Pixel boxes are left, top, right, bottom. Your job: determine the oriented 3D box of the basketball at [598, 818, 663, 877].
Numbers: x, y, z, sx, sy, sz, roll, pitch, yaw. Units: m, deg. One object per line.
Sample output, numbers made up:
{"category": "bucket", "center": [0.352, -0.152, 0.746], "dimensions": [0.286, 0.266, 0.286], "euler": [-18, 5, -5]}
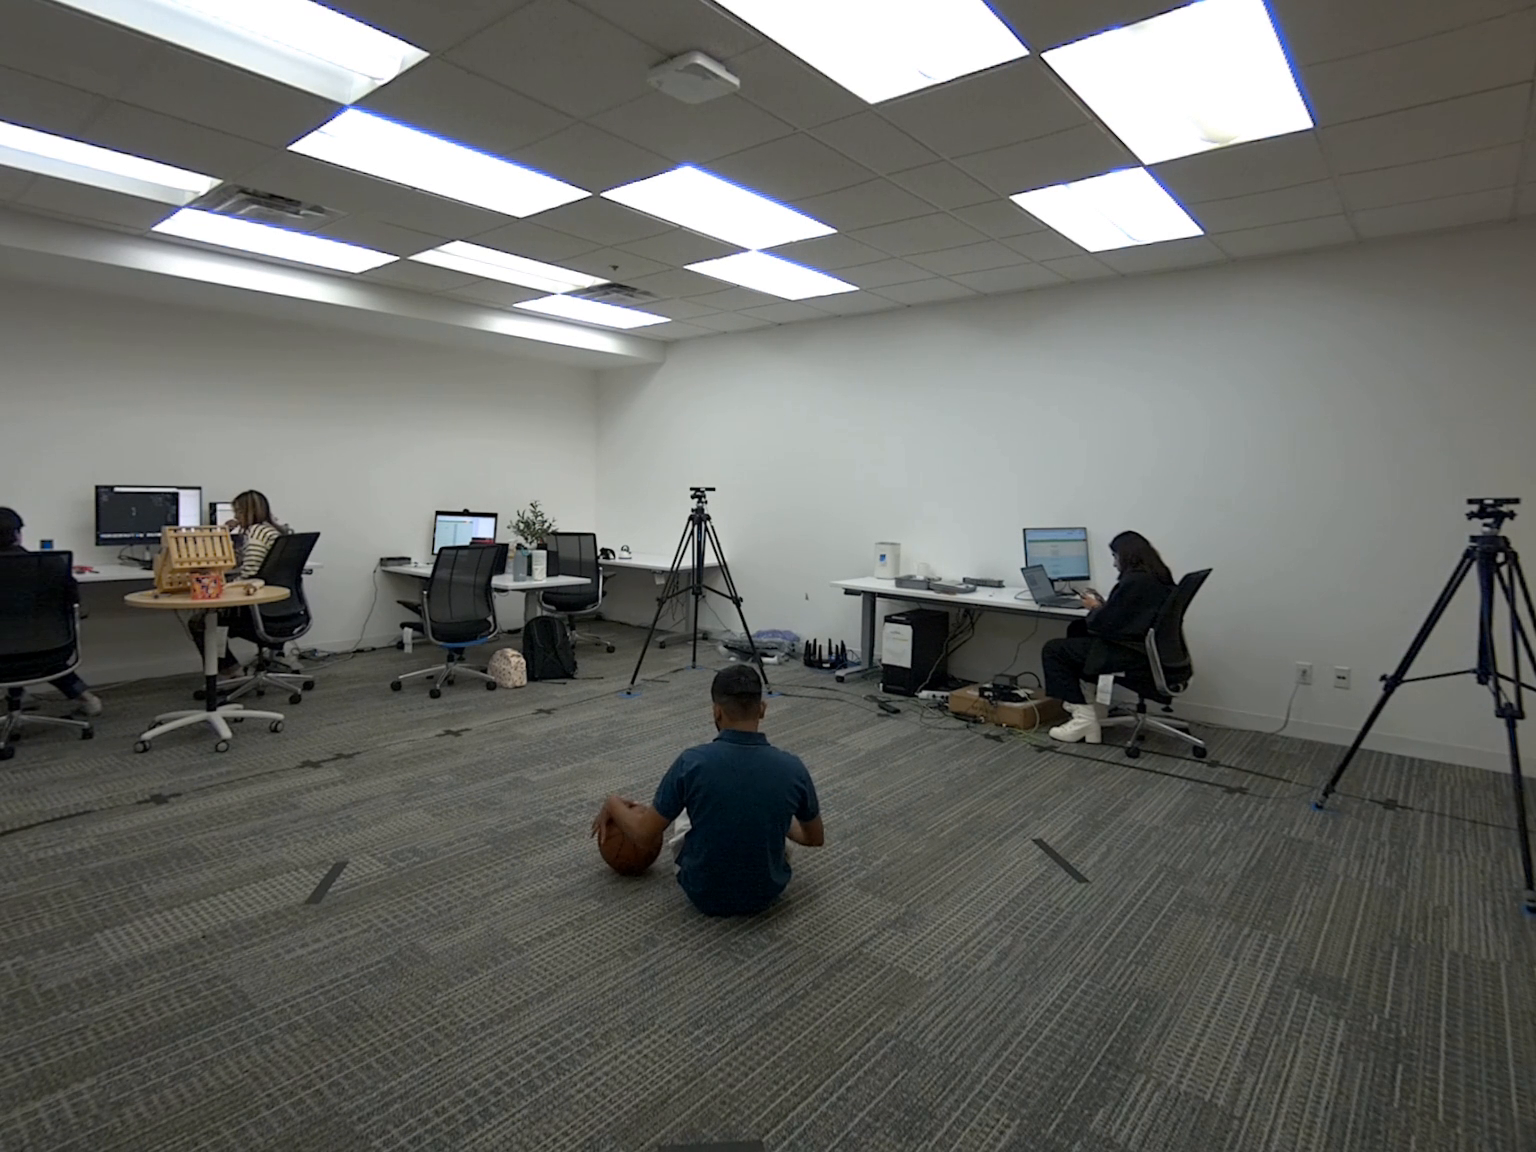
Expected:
{"category": "basketball", "center": [-0.507, 0.939, 3.089], "dimensions": [0.235, 0.235, 0.237], "euler": [1, 4, -2]}
